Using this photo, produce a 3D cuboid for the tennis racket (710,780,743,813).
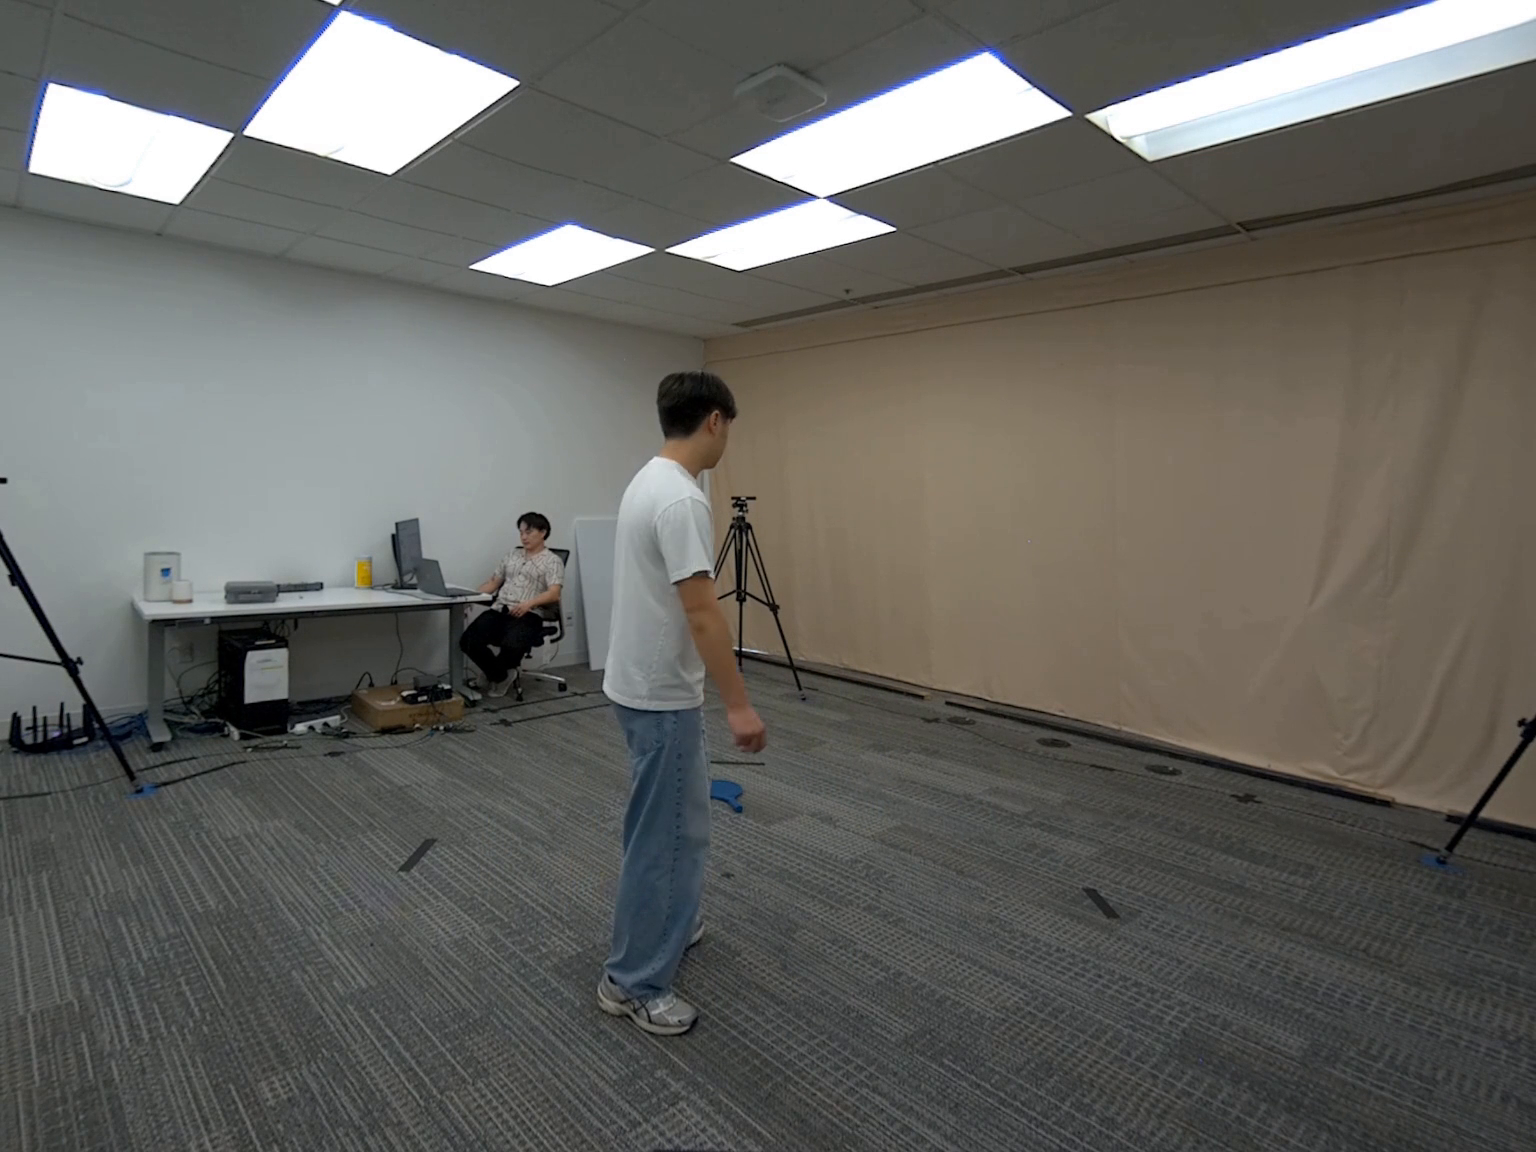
[{"bbox_3d":[-0.216,1.014,3.934,0.211,0.032,0.439,0,4,-18],"label":"tennis racket"}]
